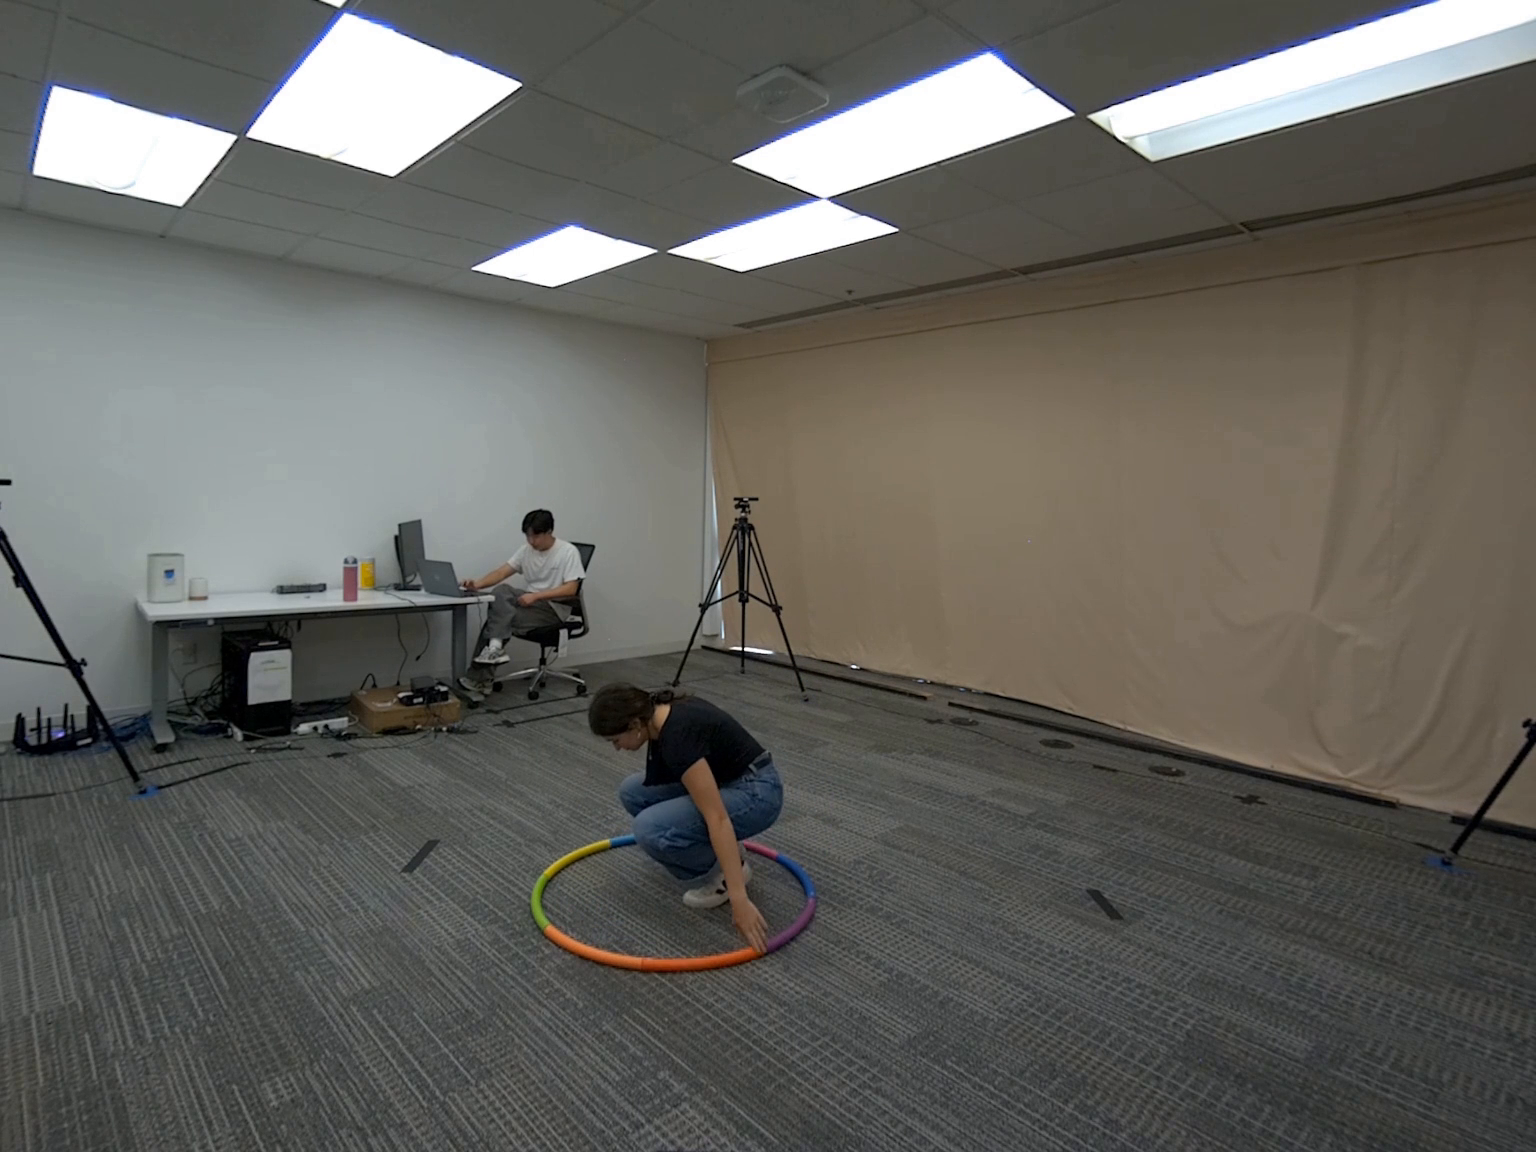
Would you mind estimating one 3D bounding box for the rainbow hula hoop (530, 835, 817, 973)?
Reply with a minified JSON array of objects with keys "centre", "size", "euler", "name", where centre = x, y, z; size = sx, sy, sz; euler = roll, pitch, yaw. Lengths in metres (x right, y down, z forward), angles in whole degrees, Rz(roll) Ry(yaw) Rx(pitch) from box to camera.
[{"centre":[-0.326,1.086,2.942],"size":[0.978,0.035,0.982],"euler":[1,5,-1],"name":"rainbow hula hoop"}]
